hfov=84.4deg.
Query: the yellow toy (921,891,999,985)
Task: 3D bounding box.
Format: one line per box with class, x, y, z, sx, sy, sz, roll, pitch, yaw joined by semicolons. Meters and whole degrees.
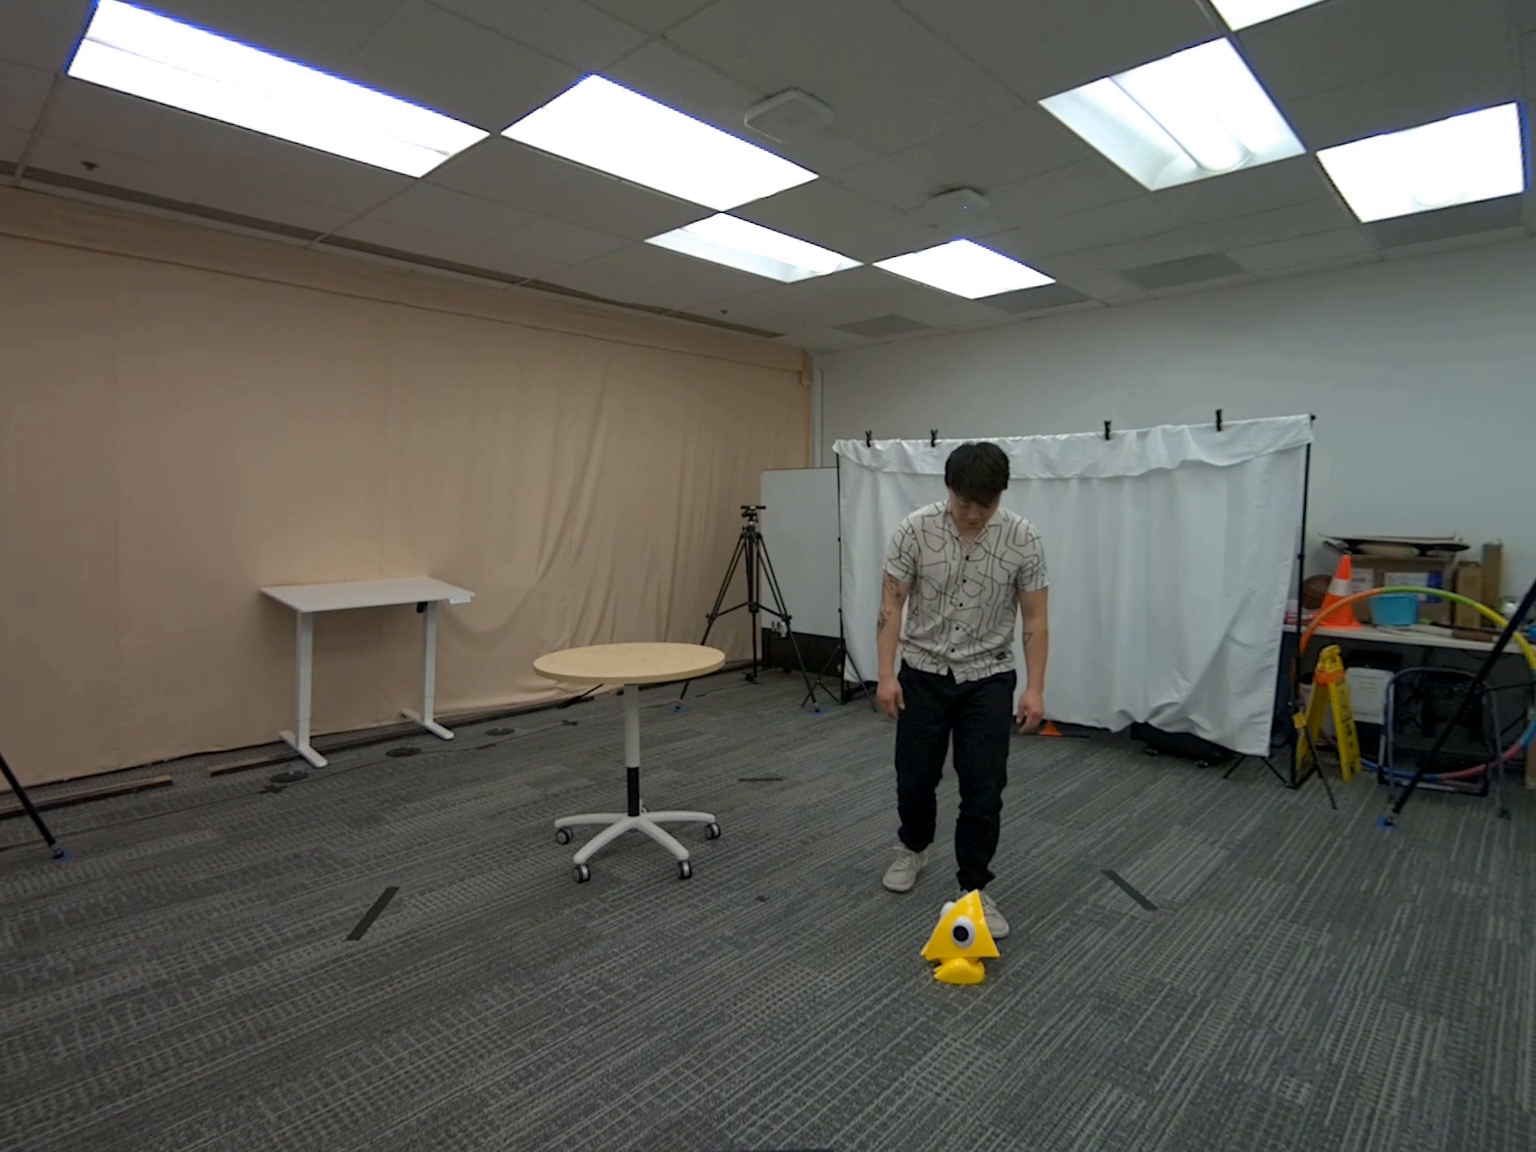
yellow toy;0.578;1.070;2.536;0.192;0.230;0.206;1;4;-5
